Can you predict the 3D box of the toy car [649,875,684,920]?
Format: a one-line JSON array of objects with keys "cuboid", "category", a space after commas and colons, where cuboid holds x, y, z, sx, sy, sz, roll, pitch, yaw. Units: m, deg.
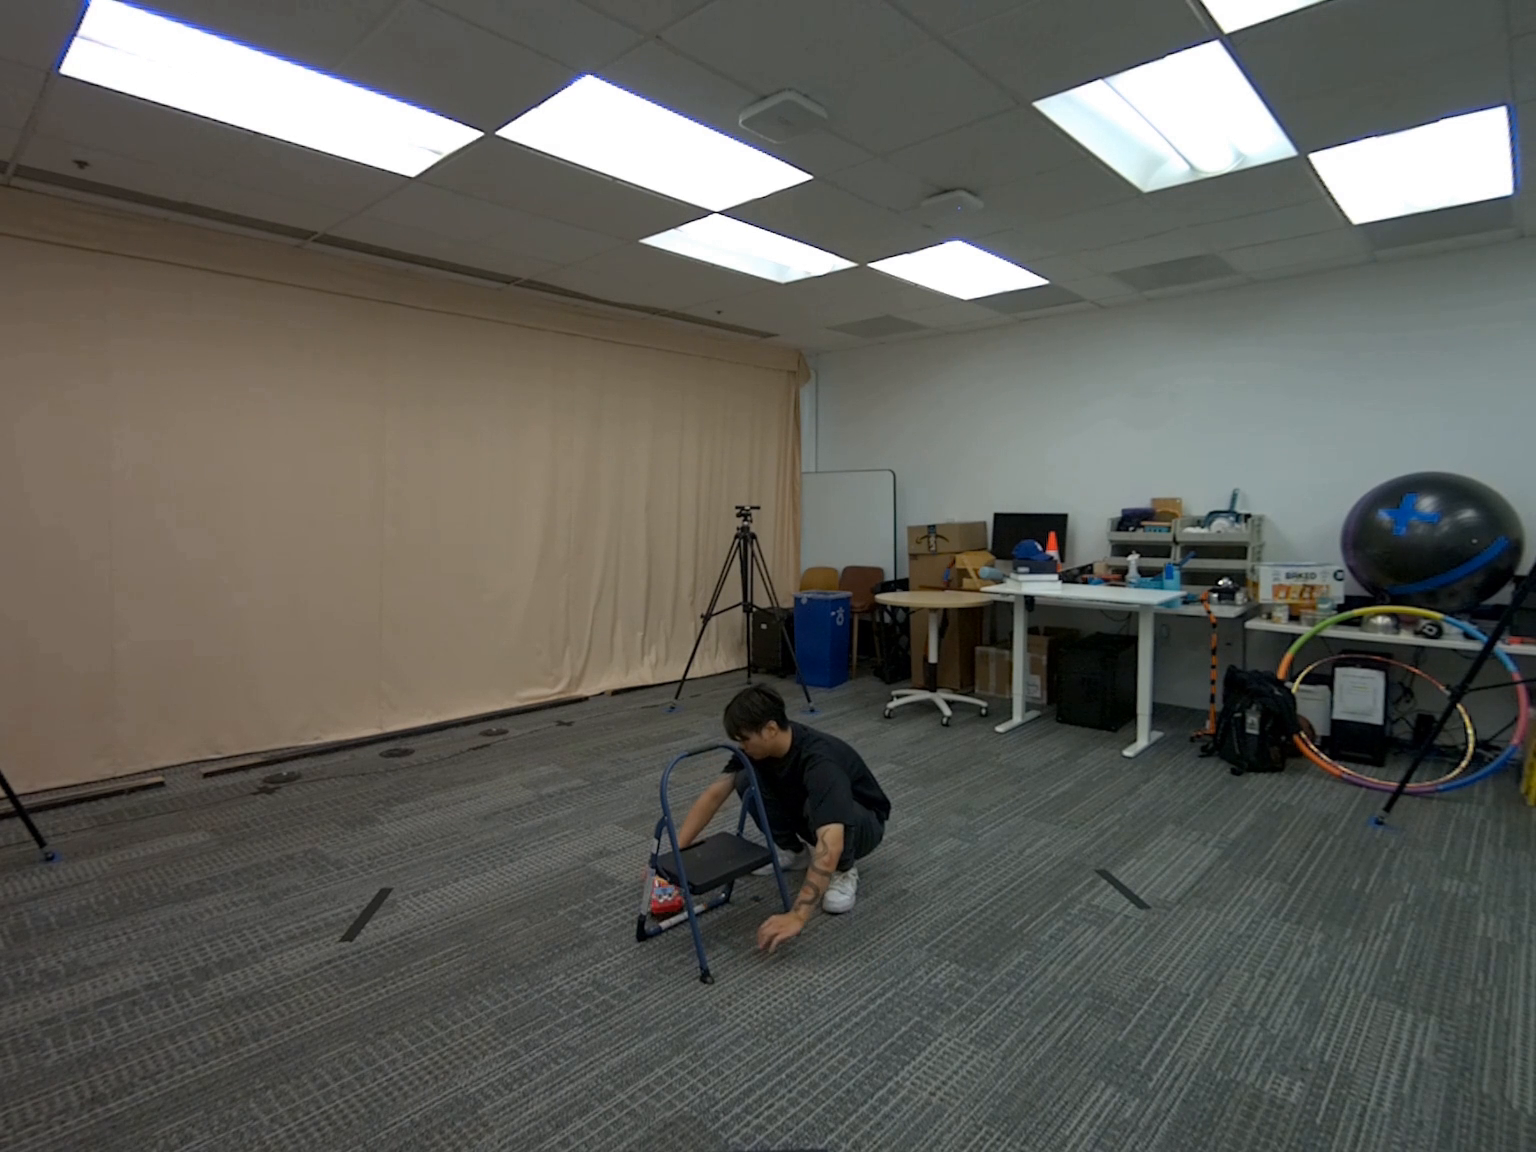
[{"cuboid": [-0.353, 1.110, 2.955, 0.129, 0.082, 0.259, -10, 12, -10], "category": "toy car"}]
